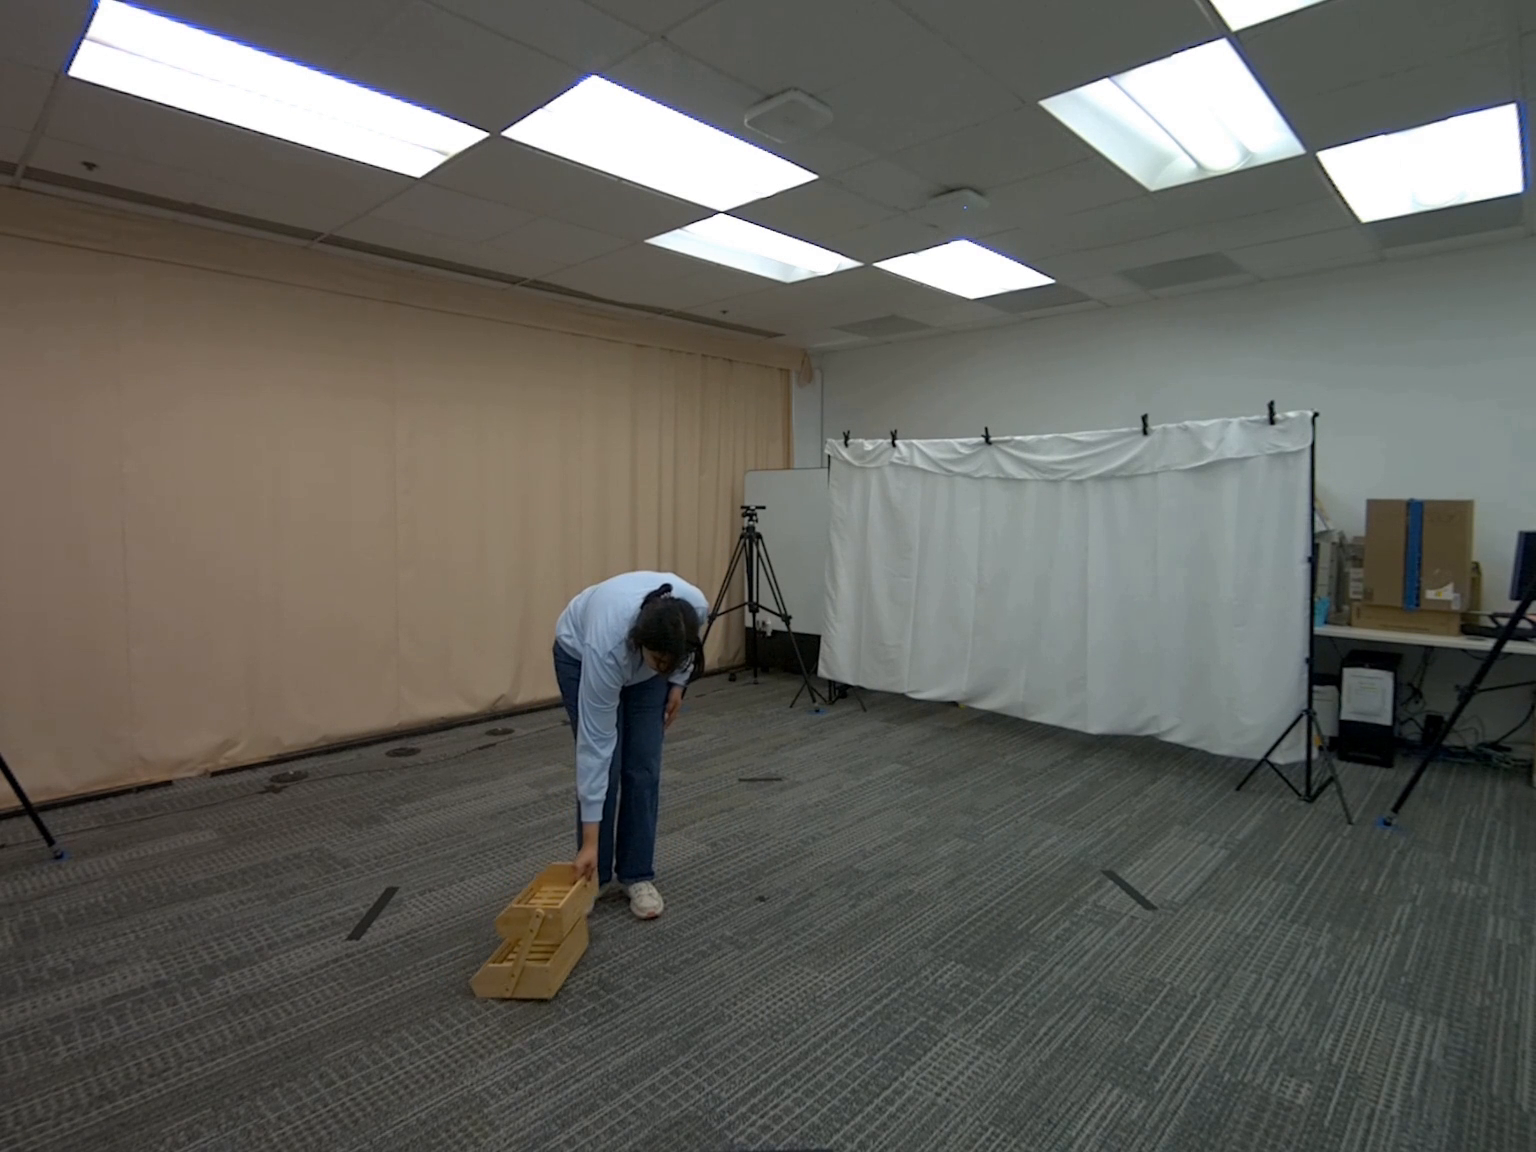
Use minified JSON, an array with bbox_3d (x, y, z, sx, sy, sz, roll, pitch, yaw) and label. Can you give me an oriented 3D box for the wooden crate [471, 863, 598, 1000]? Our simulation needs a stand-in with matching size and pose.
[{"bbox_3d":[-0.695,1.041,2.510,0.305,0.273,0.321,-4,3,9],"label":"wooden crate"}]
